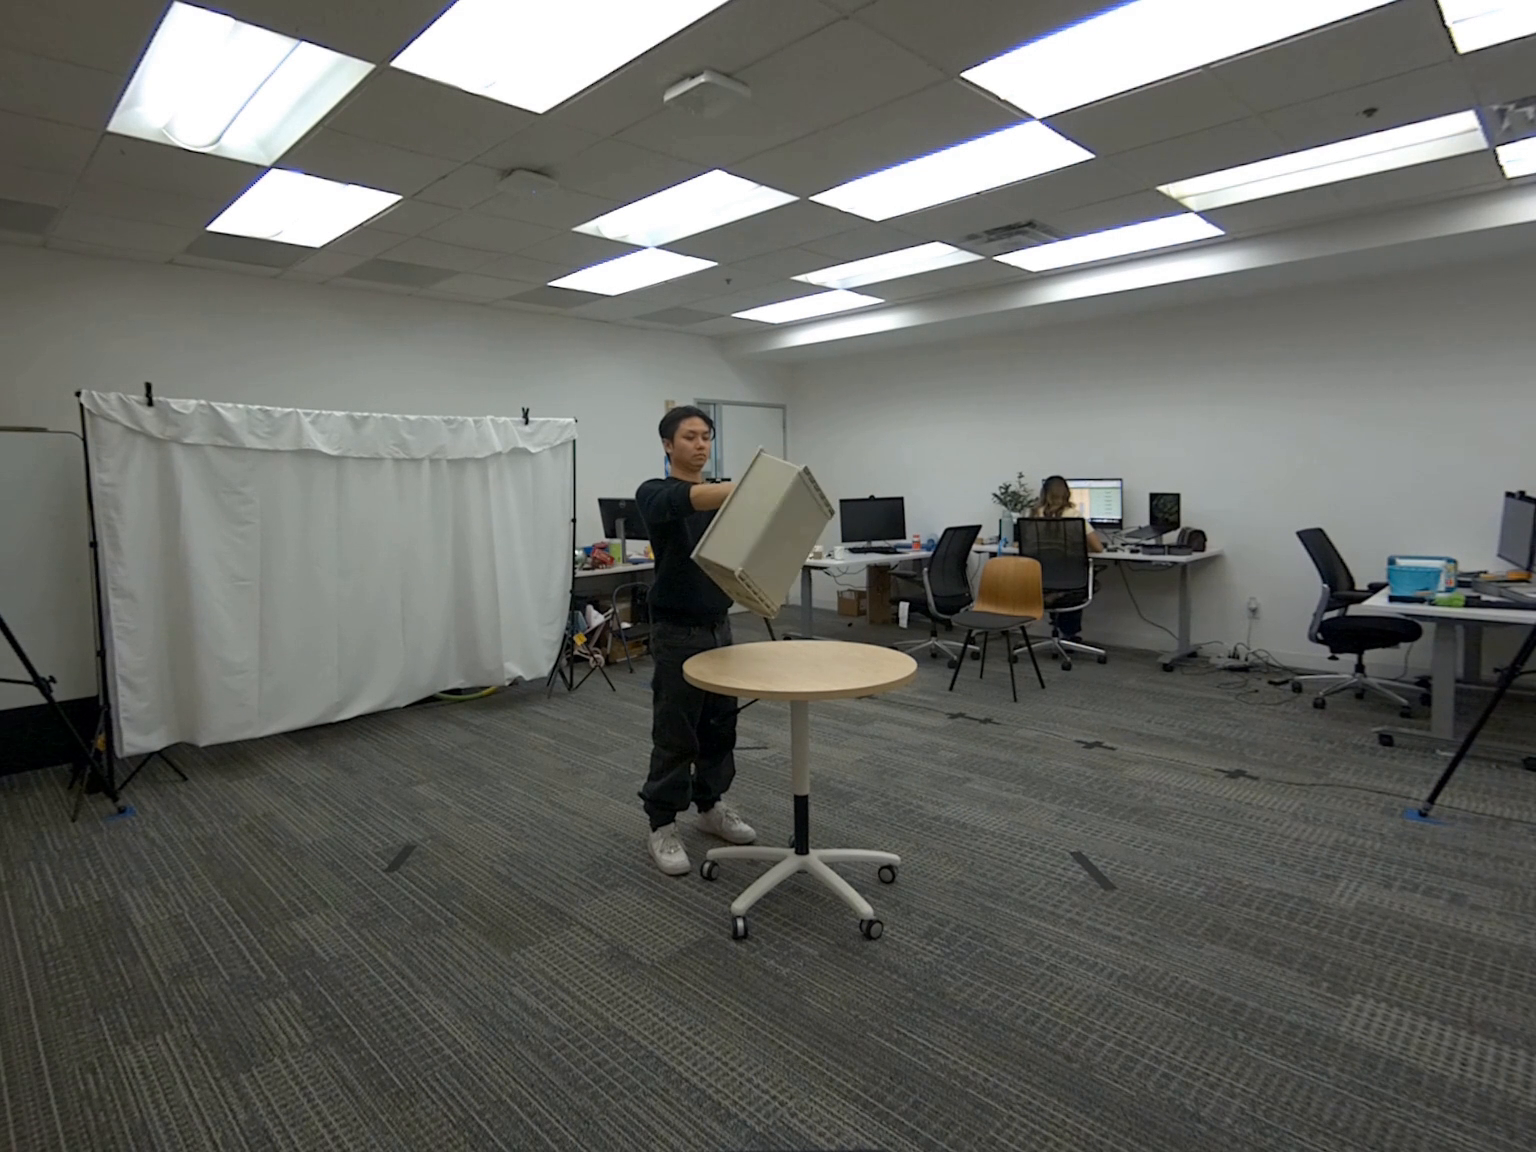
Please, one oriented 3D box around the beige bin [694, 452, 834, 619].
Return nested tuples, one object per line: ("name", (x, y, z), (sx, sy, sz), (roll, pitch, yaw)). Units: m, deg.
("beige bin", (0.010, -0.130, 2.750), (0.195, 0.424, 0.363), (23, -15, 31))
